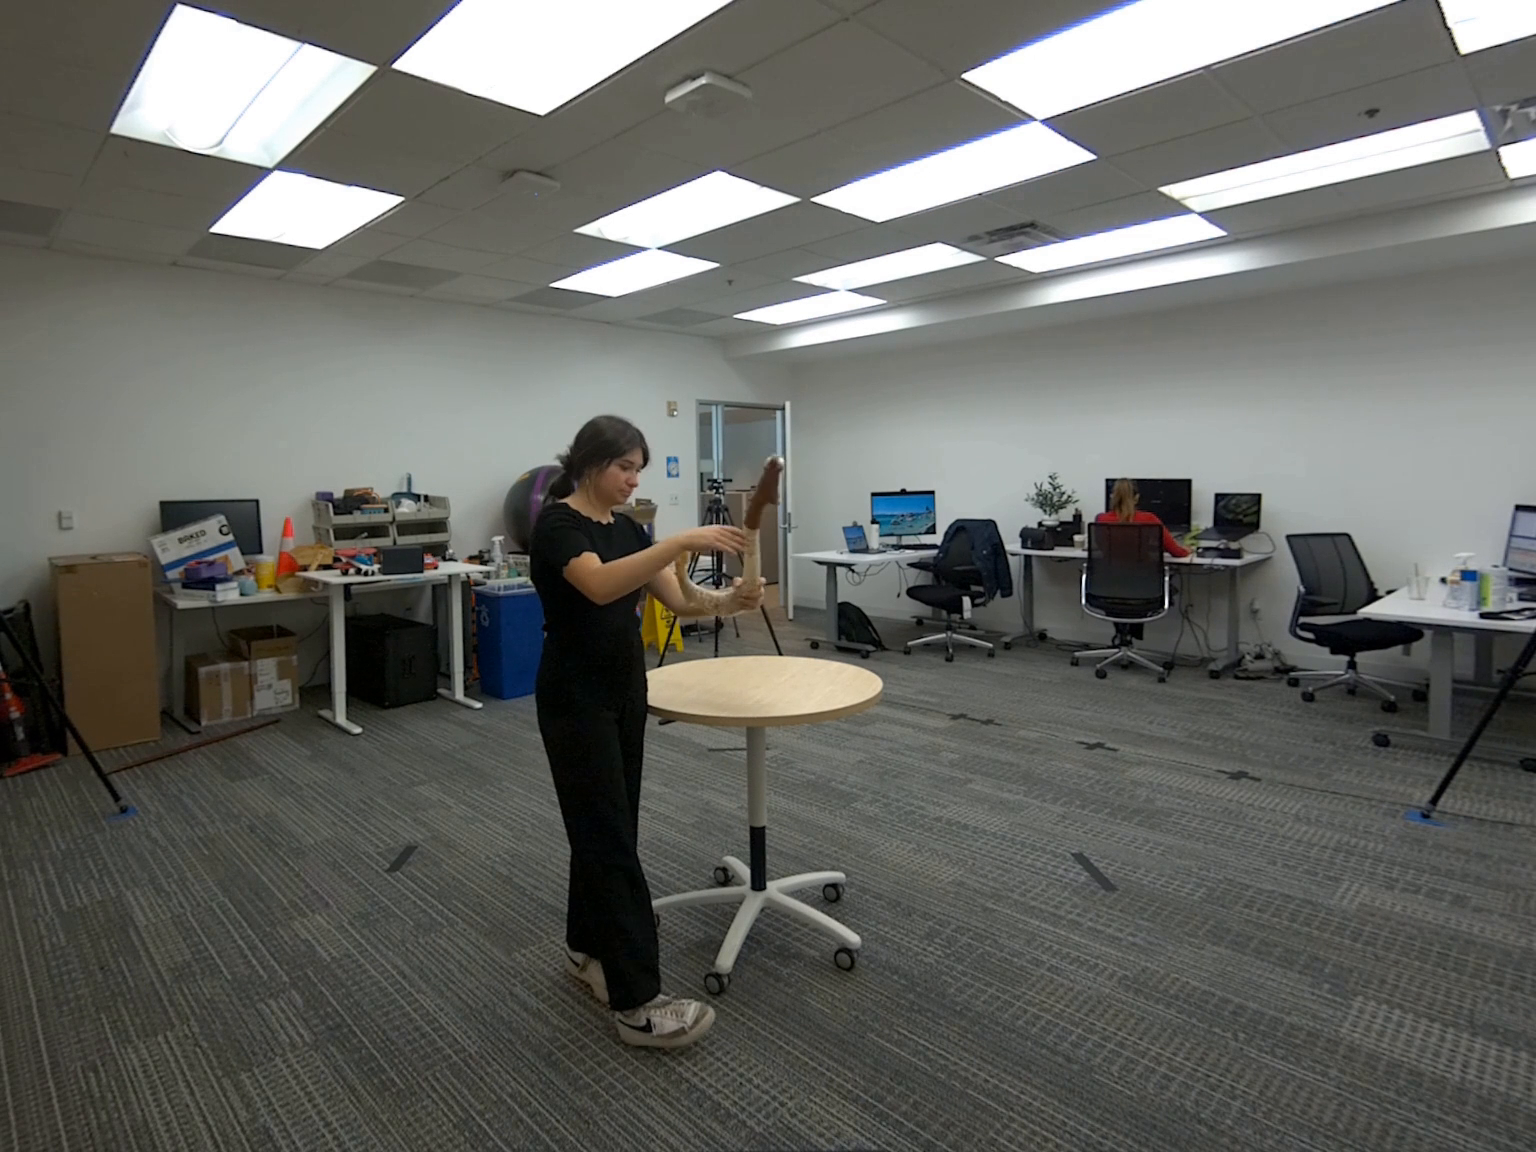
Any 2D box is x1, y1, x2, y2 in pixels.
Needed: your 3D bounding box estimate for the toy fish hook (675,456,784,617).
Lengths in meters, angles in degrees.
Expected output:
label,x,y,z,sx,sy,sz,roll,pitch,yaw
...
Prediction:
label,x,y,z,sx,sy,sz,roll,pitch,yaw
toy fish hook,-0.101,-0.096,2.058,0.224,0.498,0.049,17,35,-3
